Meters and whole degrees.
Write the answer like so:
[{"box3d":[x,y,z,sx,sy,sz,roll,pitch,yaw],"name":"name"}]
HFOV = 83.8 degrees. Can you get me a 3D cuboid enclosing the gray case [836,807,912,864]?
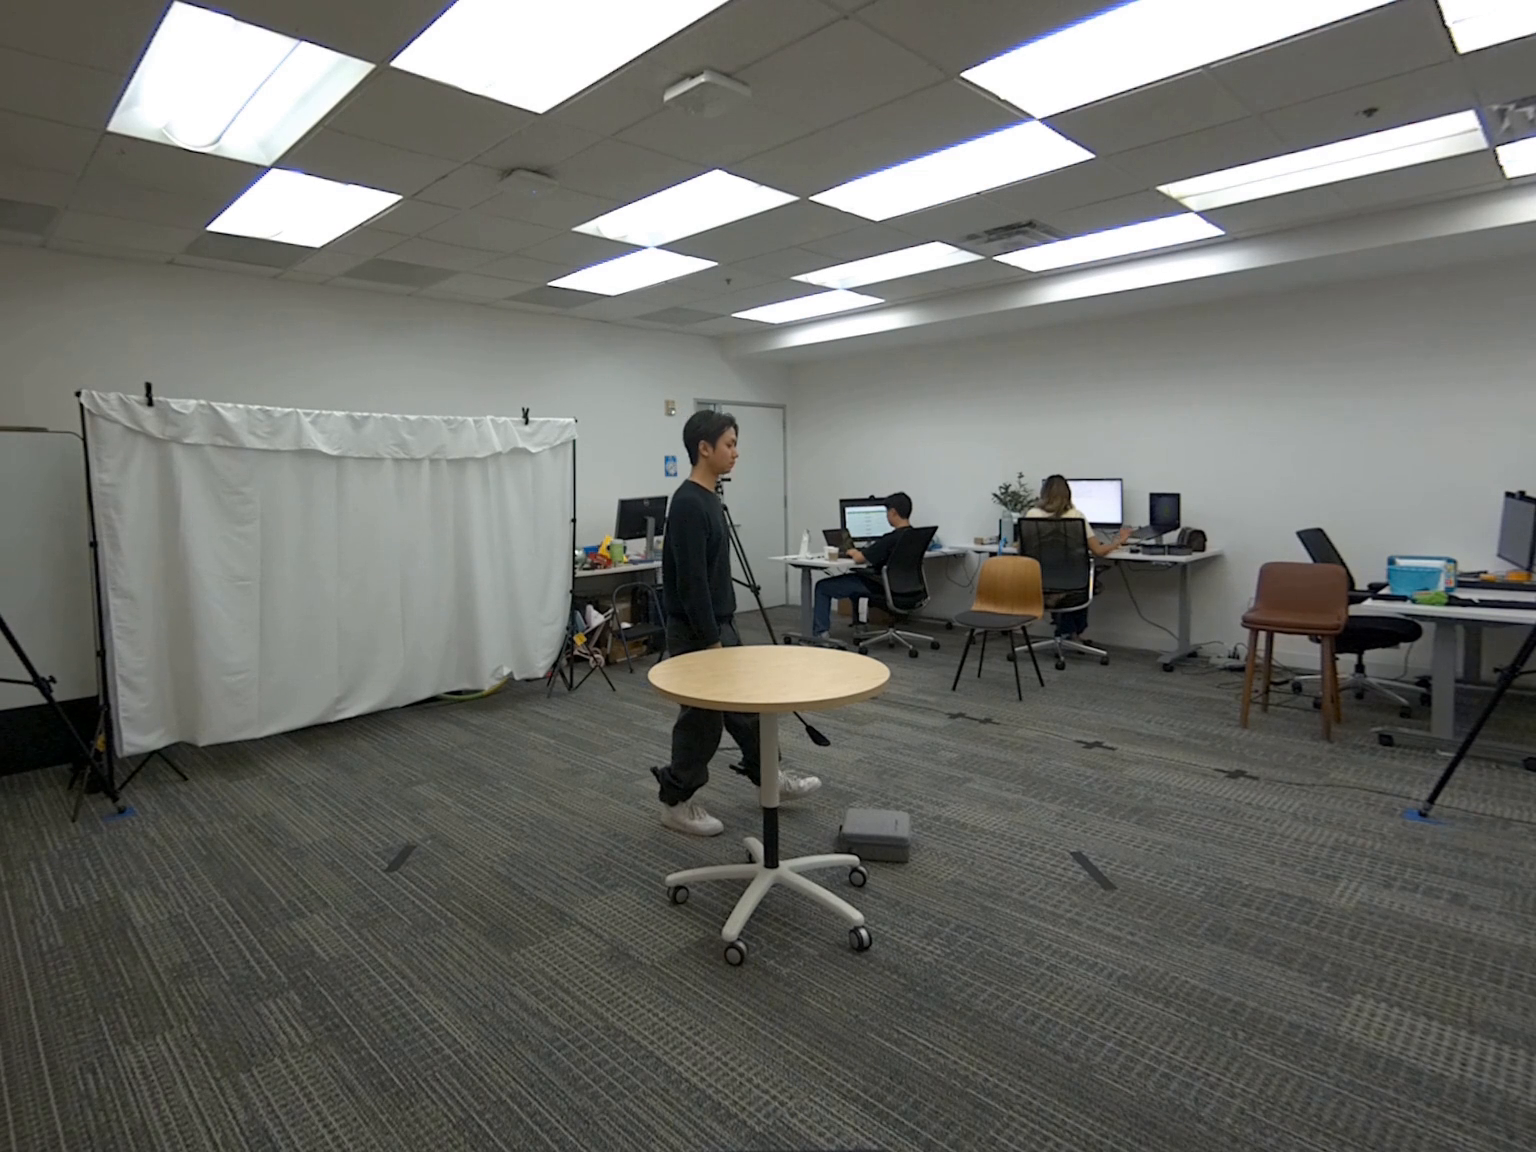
[{"box3d":[0.402,0.963,3.205,0.264,0.104,0.255,-1,7,12],"name":"gray case"}]
